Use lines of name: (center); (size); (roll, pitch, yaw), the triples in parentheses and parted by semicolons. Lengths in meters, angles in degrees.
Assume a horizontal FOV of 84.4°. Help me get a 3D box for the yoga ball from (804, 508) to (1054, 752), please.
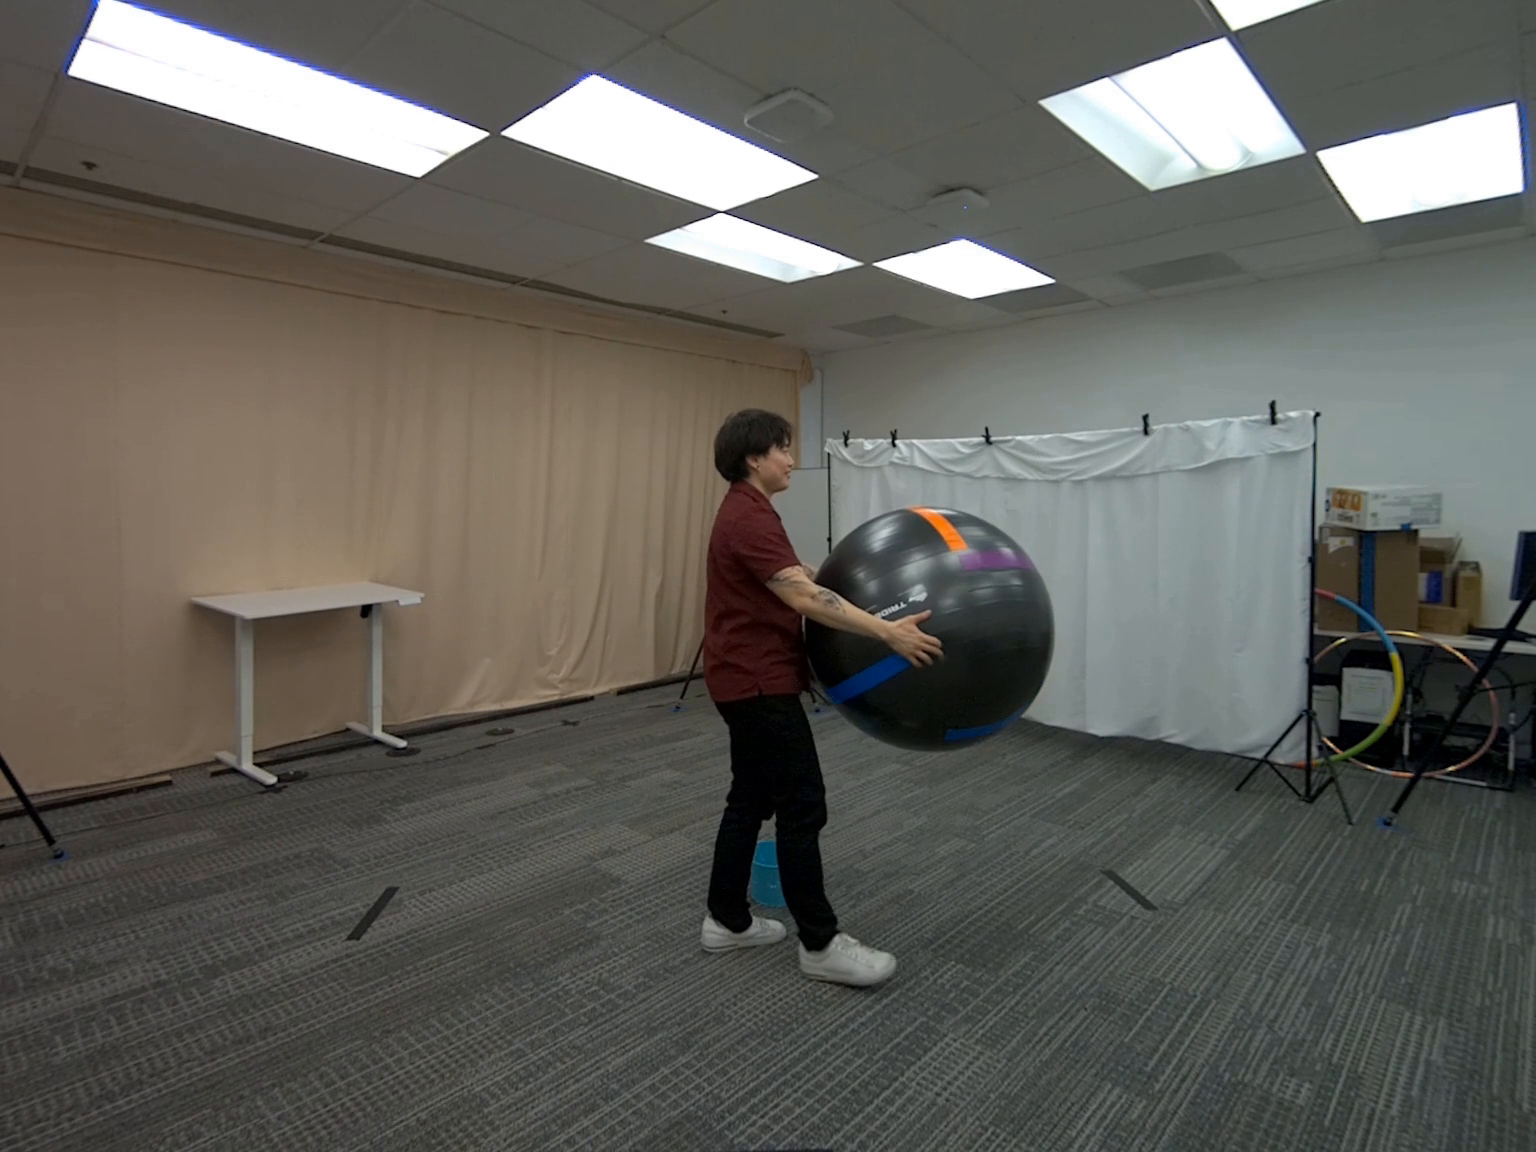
yoga ball: (0.492, 0.166, 2.622); (0.757, 0.756, 0.761); (0, 4, -2)
